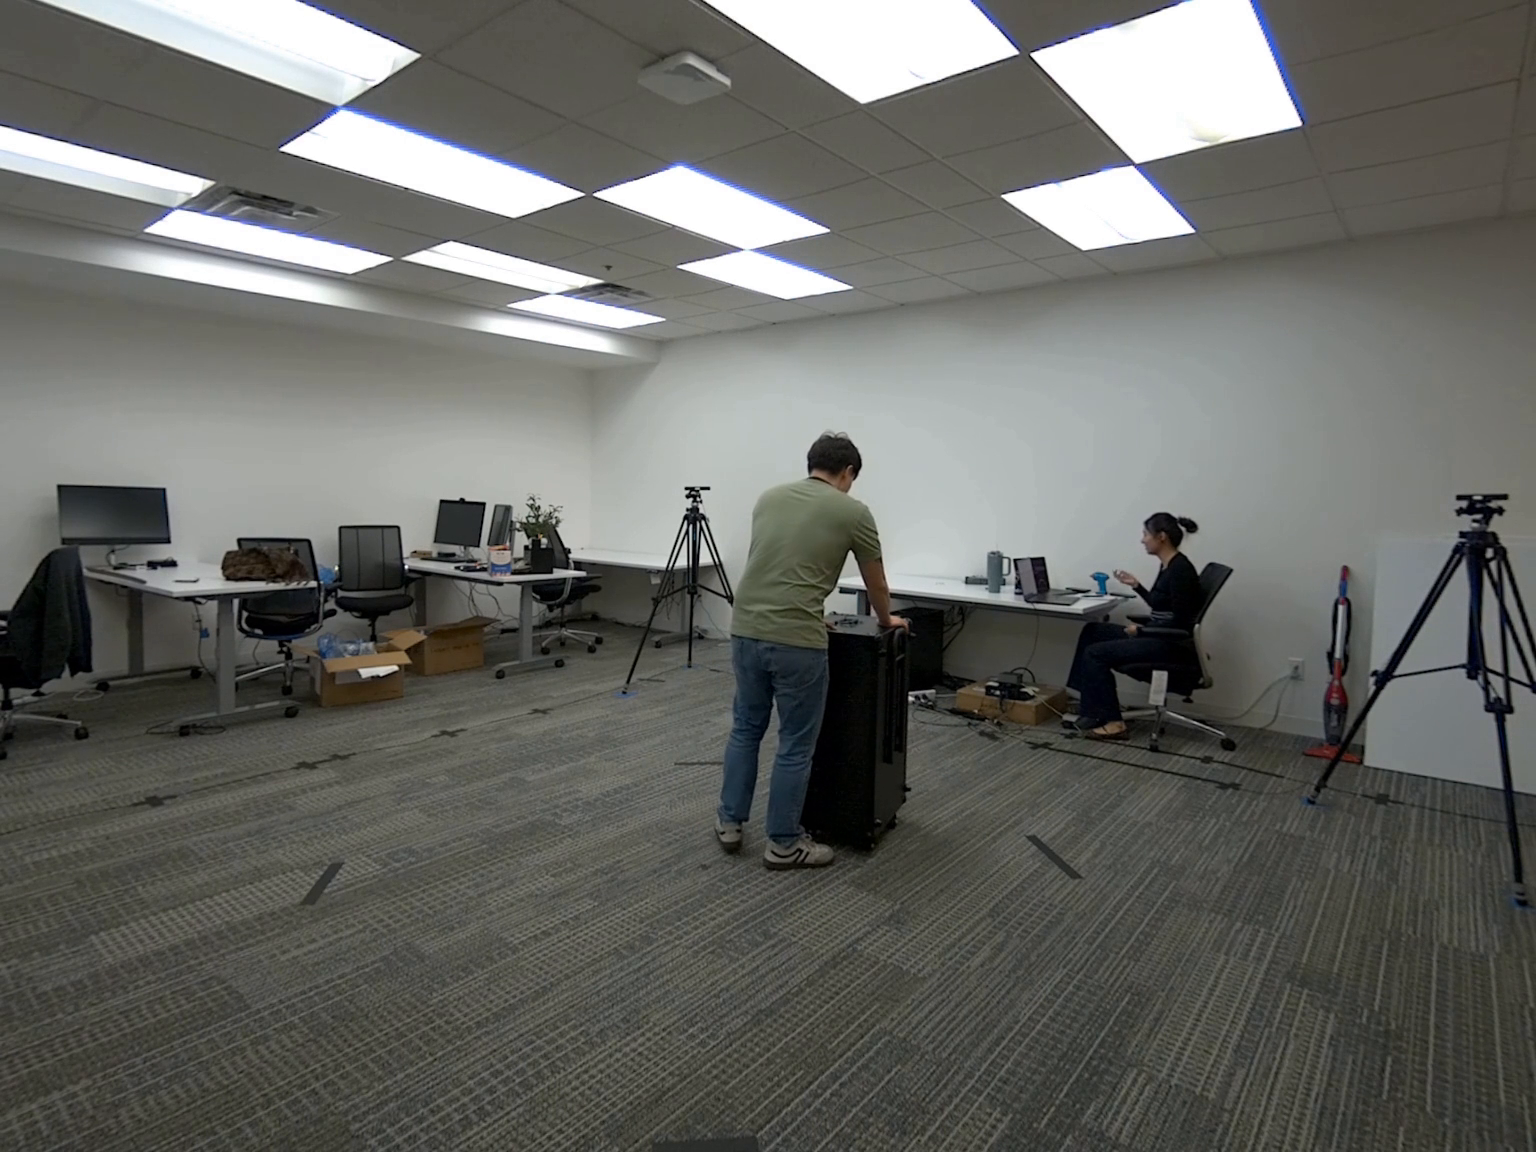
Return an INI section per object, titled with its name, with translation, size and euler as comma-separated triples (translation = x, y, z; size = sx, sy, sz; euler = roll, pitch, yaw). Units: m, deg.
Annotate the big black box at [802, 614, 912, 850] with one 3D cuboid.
[big black box]
translation = 0.351, 0.617, 3.478
size = 0.407, 0.858, 0.510
euler = 3, 4, 25
